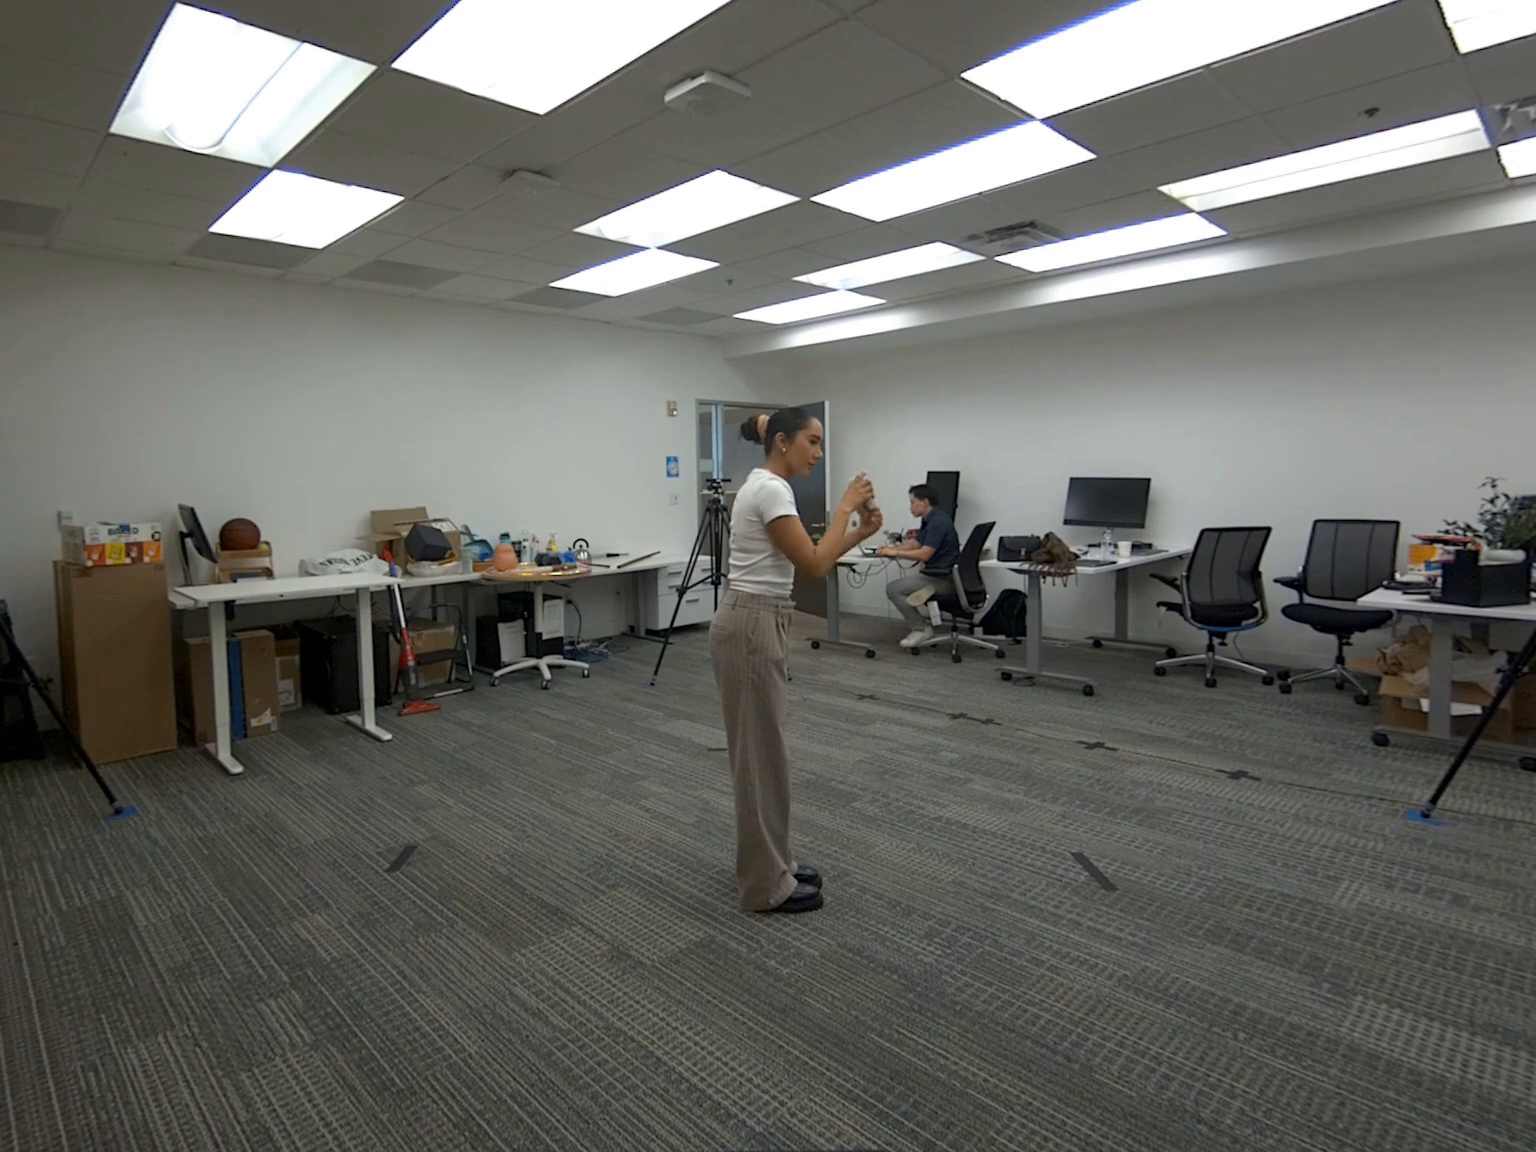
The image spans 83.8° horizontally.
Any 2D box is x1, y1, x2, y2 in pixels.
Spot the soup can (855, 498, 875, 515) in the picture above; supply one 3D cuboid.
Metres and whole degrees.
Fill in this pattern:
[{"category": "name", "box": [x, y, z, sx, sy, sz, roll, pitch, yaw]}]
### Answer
[{"category": "soup can", "box": [0.309, -0.303, 2.800, 0.067, 0.118, 0.068, -20, 22, 7]}]
